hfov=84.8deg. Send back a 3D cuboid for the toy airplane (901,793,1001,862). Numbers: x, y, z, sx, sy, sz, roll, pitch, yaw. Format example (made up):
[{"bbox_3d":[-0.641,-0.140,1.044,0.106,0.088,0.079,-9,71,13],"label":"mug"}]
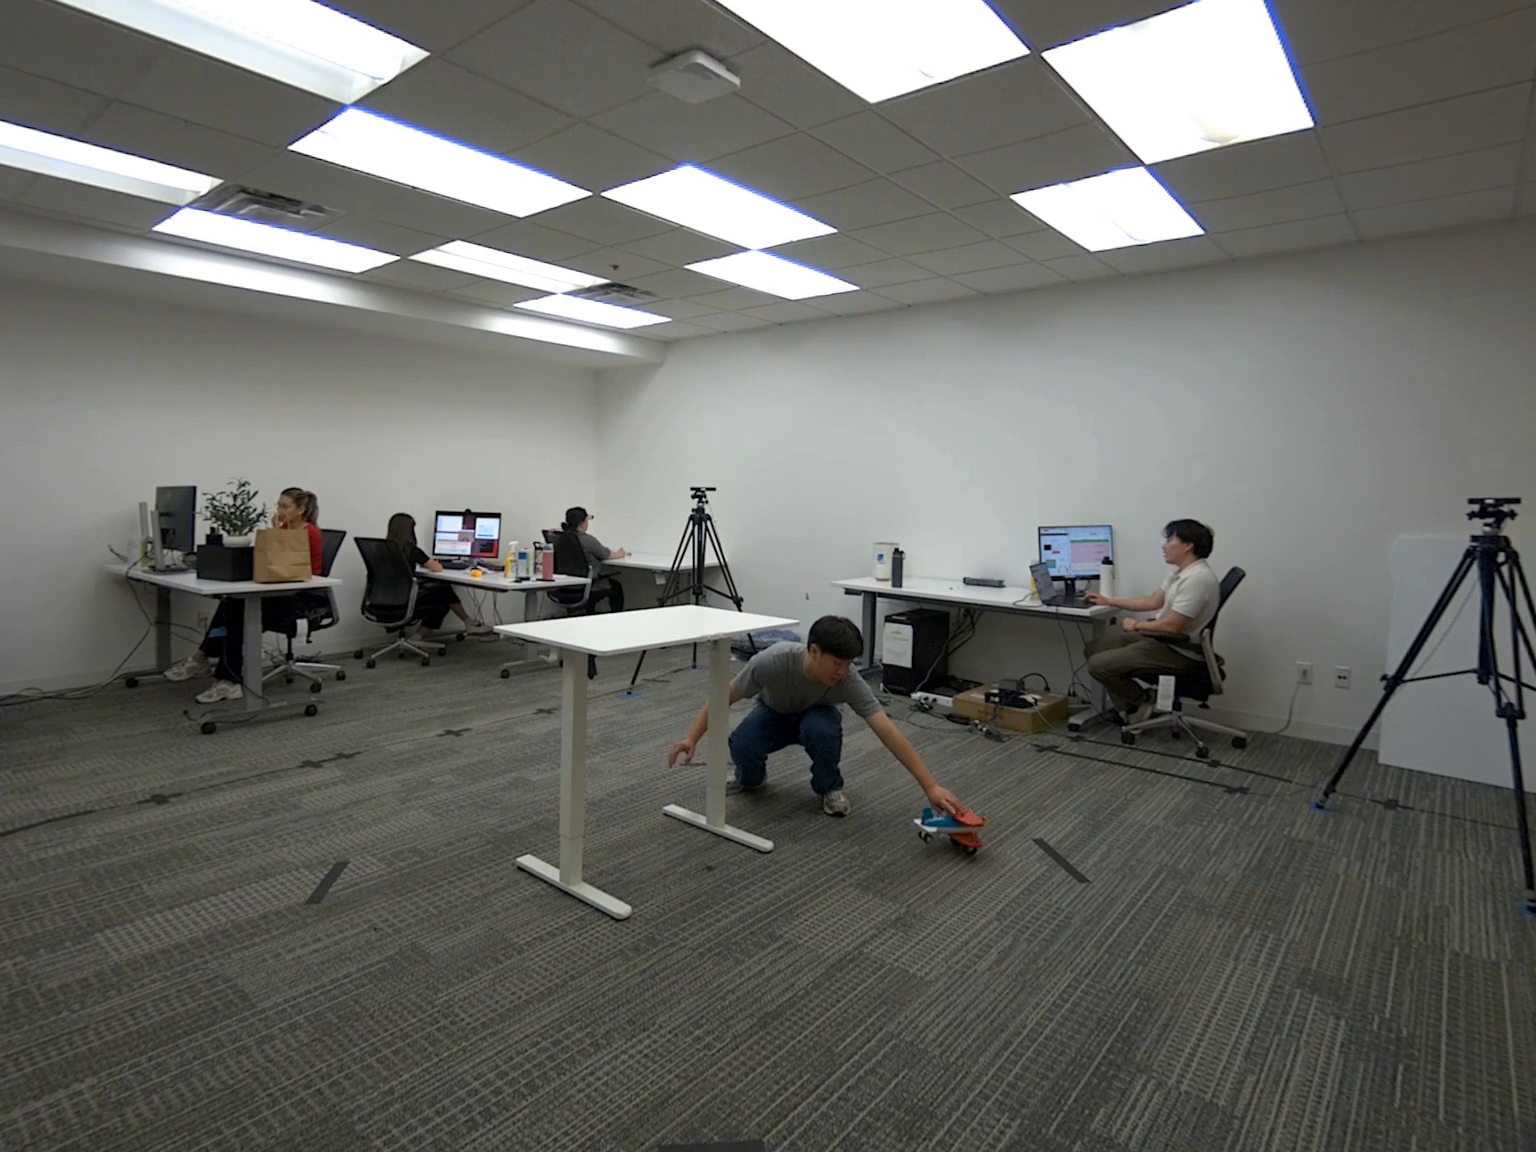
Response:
[{"bbox_3d":[0.715,0.975,3.287,0.261,0.156,0.249,15,-2,43],"label":"toy airplane"}]
